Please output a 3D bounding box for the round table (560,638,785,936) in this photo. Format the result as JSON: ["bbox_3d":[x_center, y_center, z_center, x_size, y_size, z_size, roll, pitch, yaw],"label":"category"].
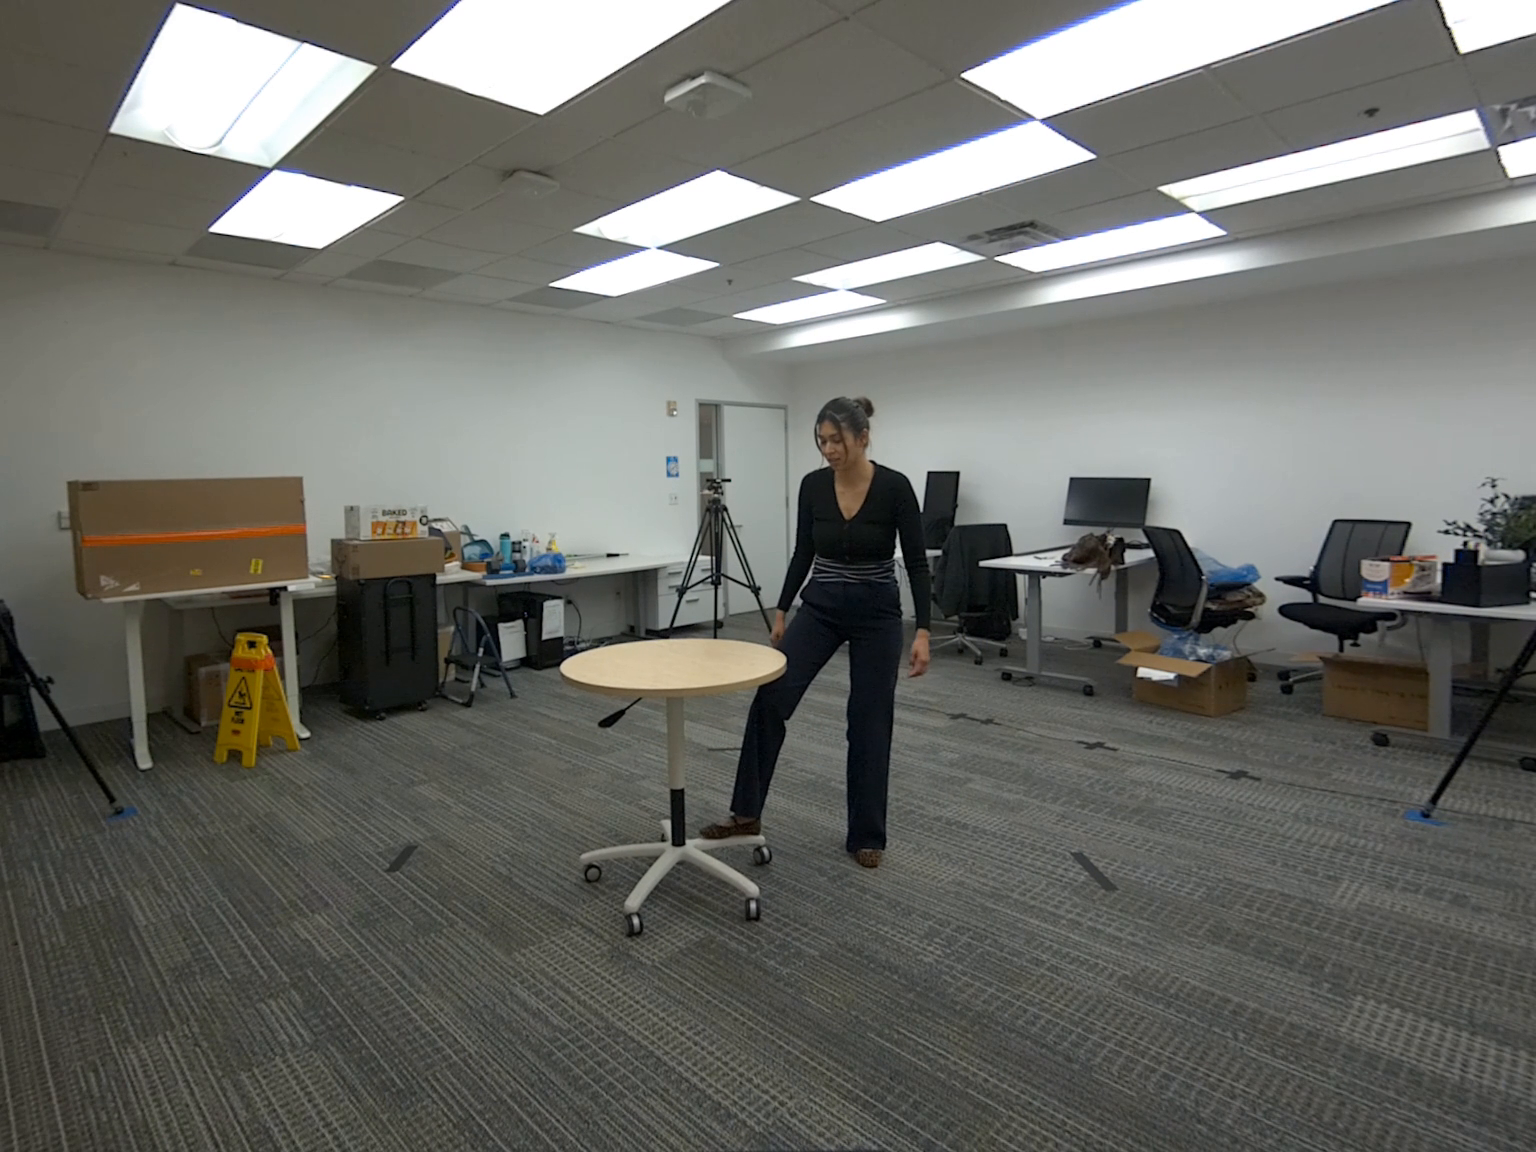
[{"bbox_3d":[-0.309,0.682,2.927,0.763,0.790,0.768,-2,5,-1],"label":"round table"}]
